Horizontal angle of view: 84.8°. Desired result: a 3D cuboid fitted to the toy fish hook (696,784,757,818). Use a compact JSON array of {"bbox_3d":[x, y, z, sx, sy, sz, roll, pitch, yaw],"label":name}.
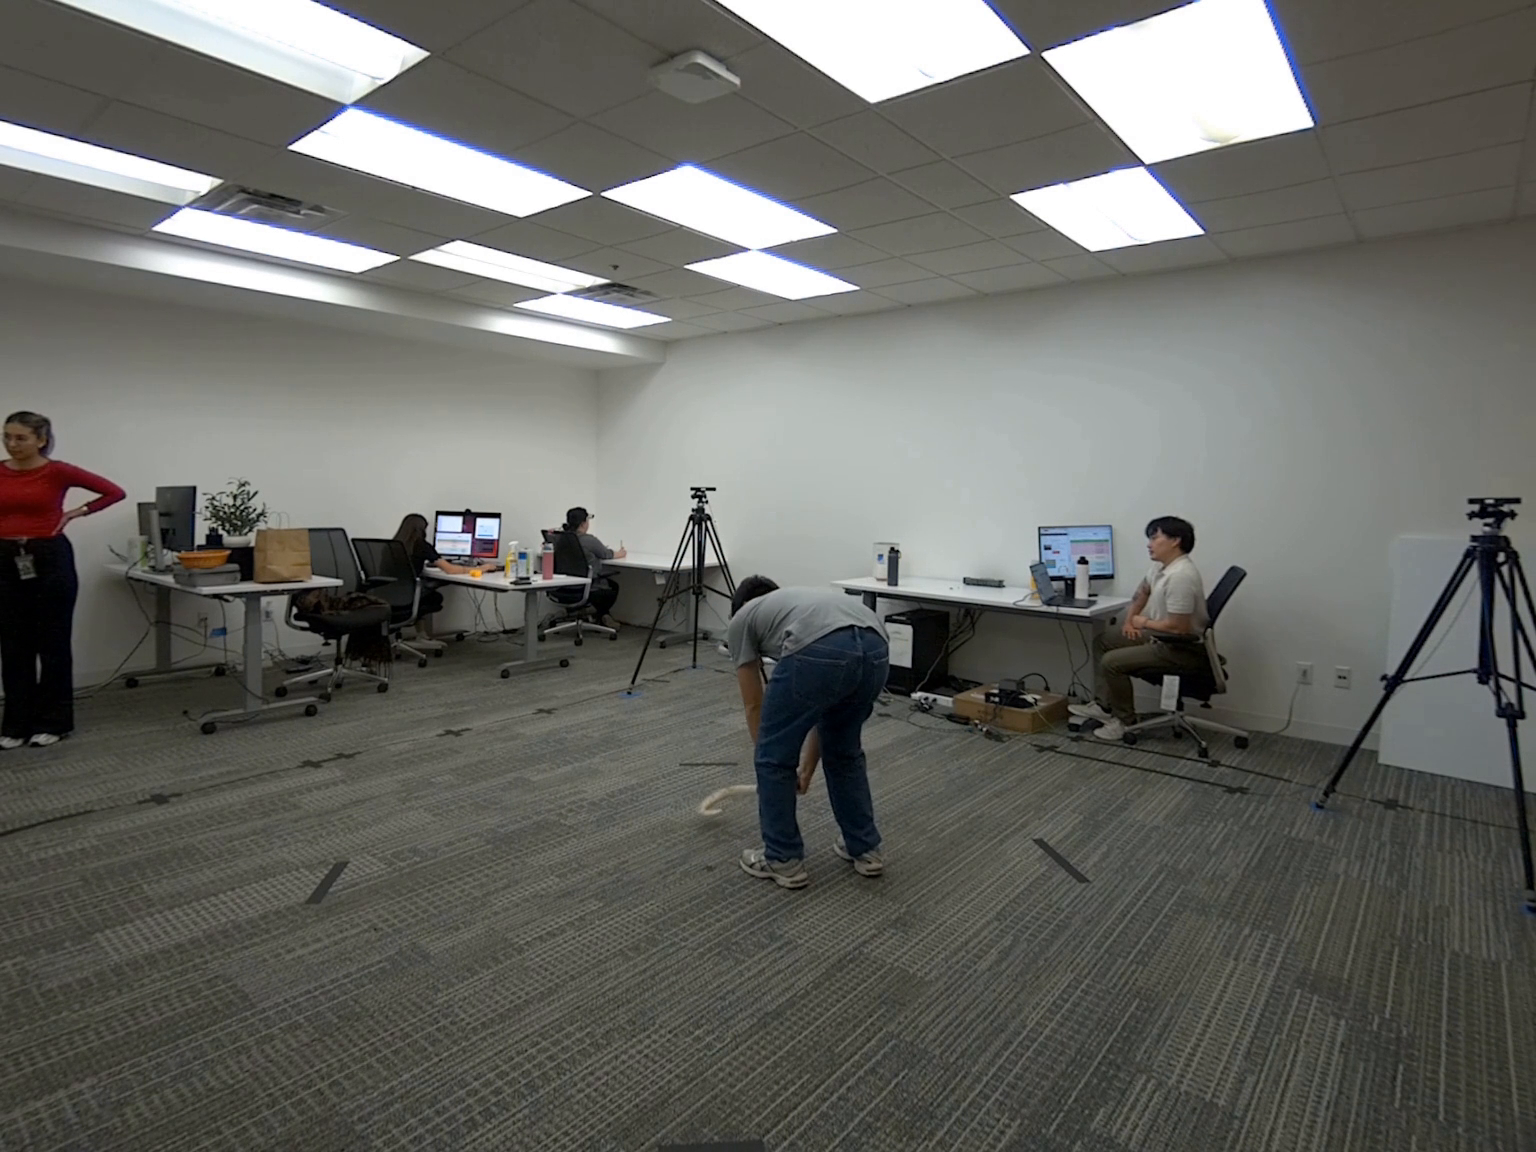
[{"bbox_3d":[-0.110,0.886,3.397,0.515,0.048,0.222,-24,9,40],"label":"toy fish hook"}]
